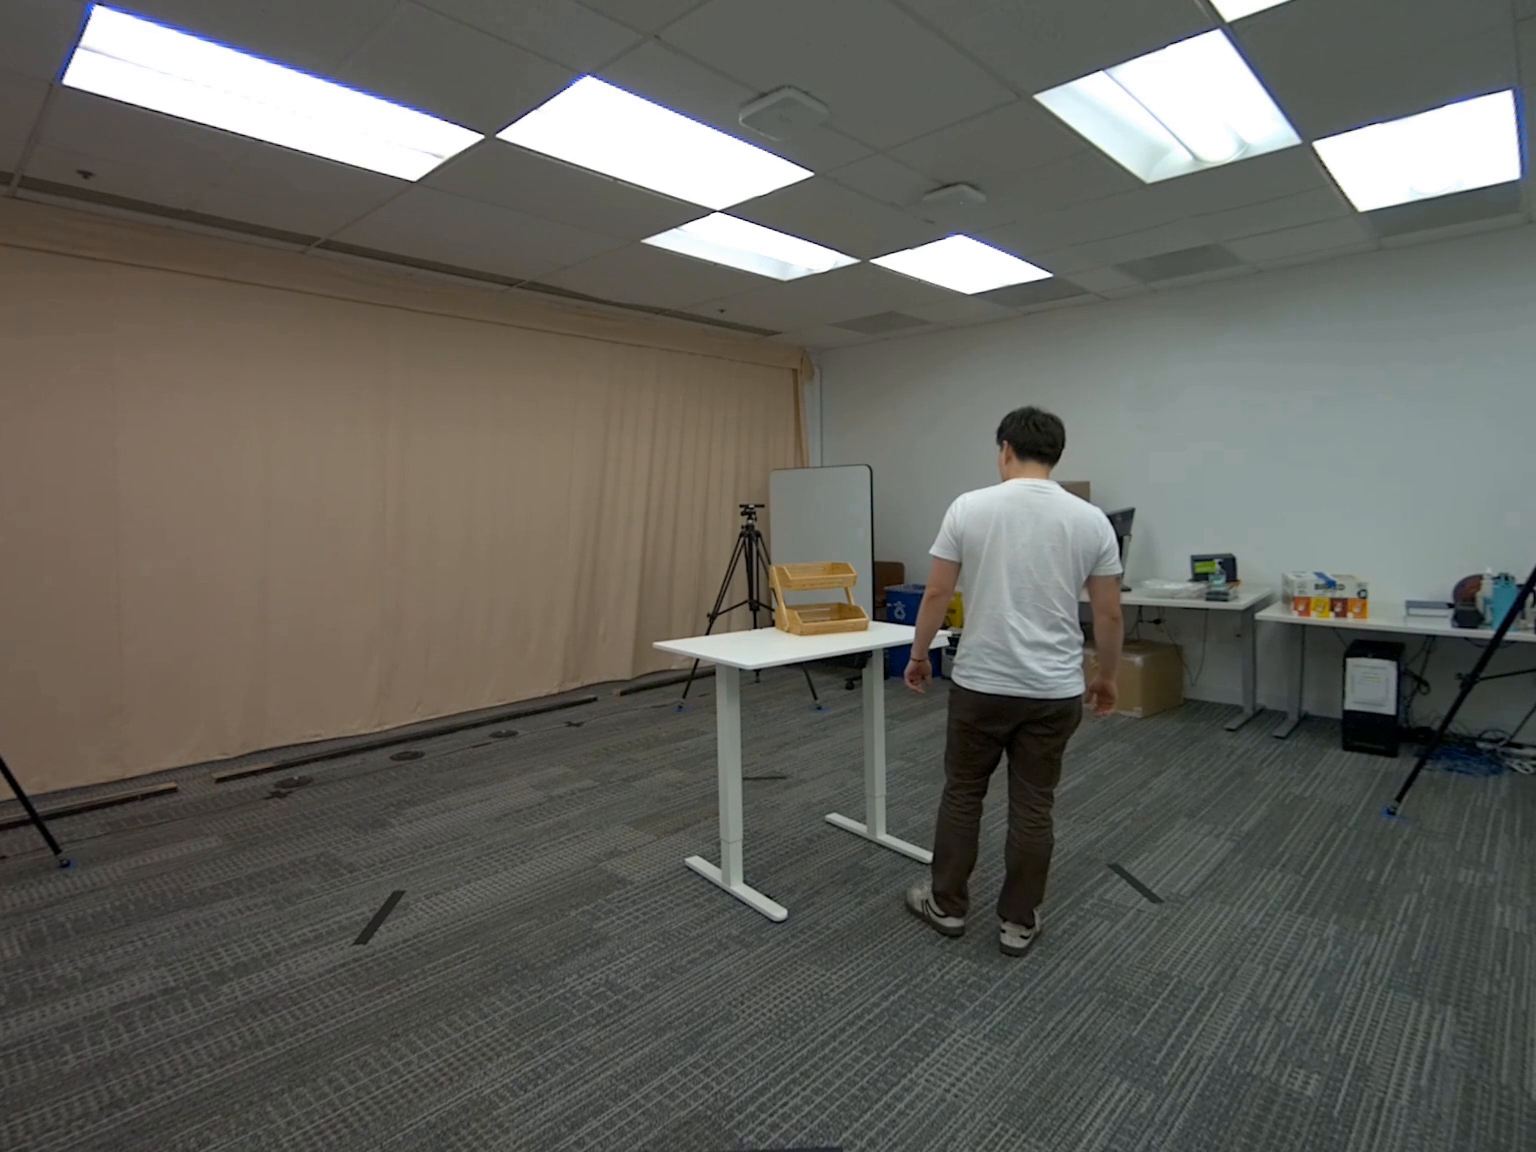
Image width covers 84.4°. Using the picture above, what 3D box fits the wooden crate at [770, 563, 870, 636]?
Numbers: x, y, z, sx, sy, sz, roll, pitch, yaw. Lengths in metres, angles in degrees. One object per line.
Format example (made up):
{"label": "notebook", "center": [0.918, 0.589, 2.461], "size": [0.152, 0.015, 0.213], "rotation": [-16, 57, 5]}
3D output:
{"label": "wooden crate", "center": [0.216, 0.085, 3.424], "size": [0.318, 0.273, 0.309], "rotation": [-2, 3, -22]}
